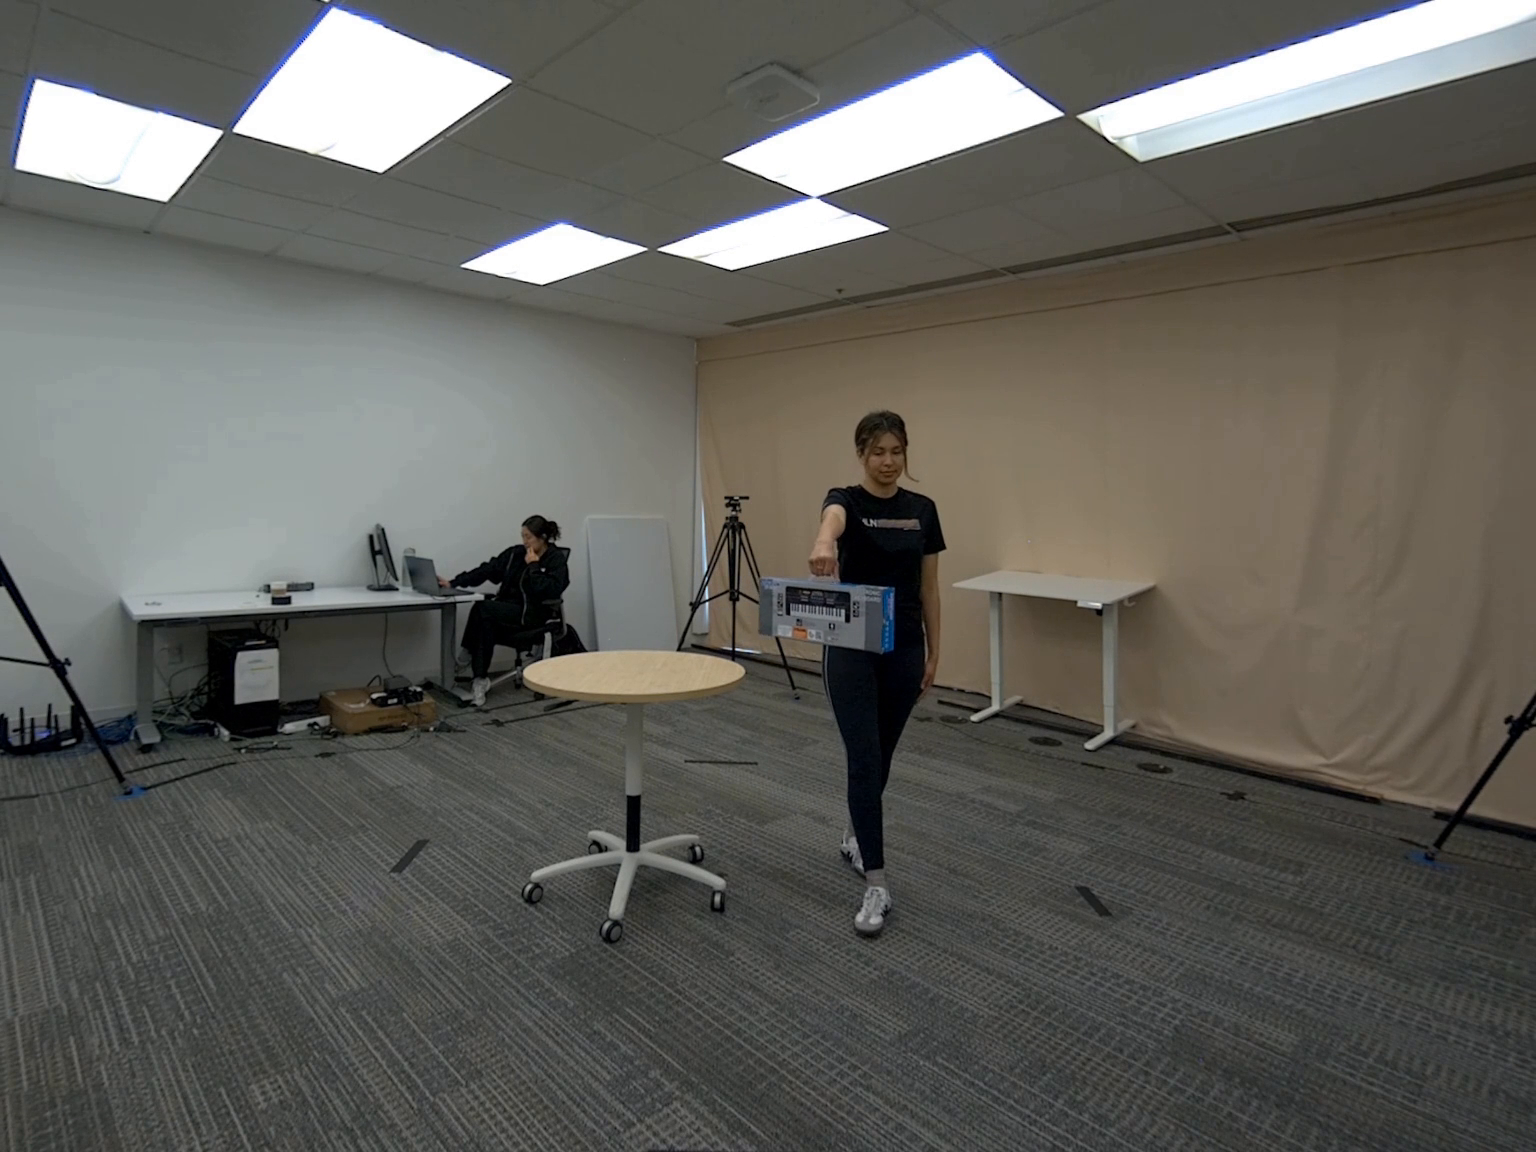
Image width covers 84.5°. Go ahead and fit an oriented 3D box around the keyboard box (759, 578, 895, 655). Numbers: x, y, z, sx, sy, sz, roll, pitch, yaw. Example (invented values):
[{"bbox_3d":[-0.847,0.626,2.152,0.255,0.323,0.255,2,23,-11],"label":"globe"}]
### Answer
[{"bbox_3d":[0.152,0.107,2.395,0.448,0.175,0.058,4,5,41],"label":"keyboard box"}]
